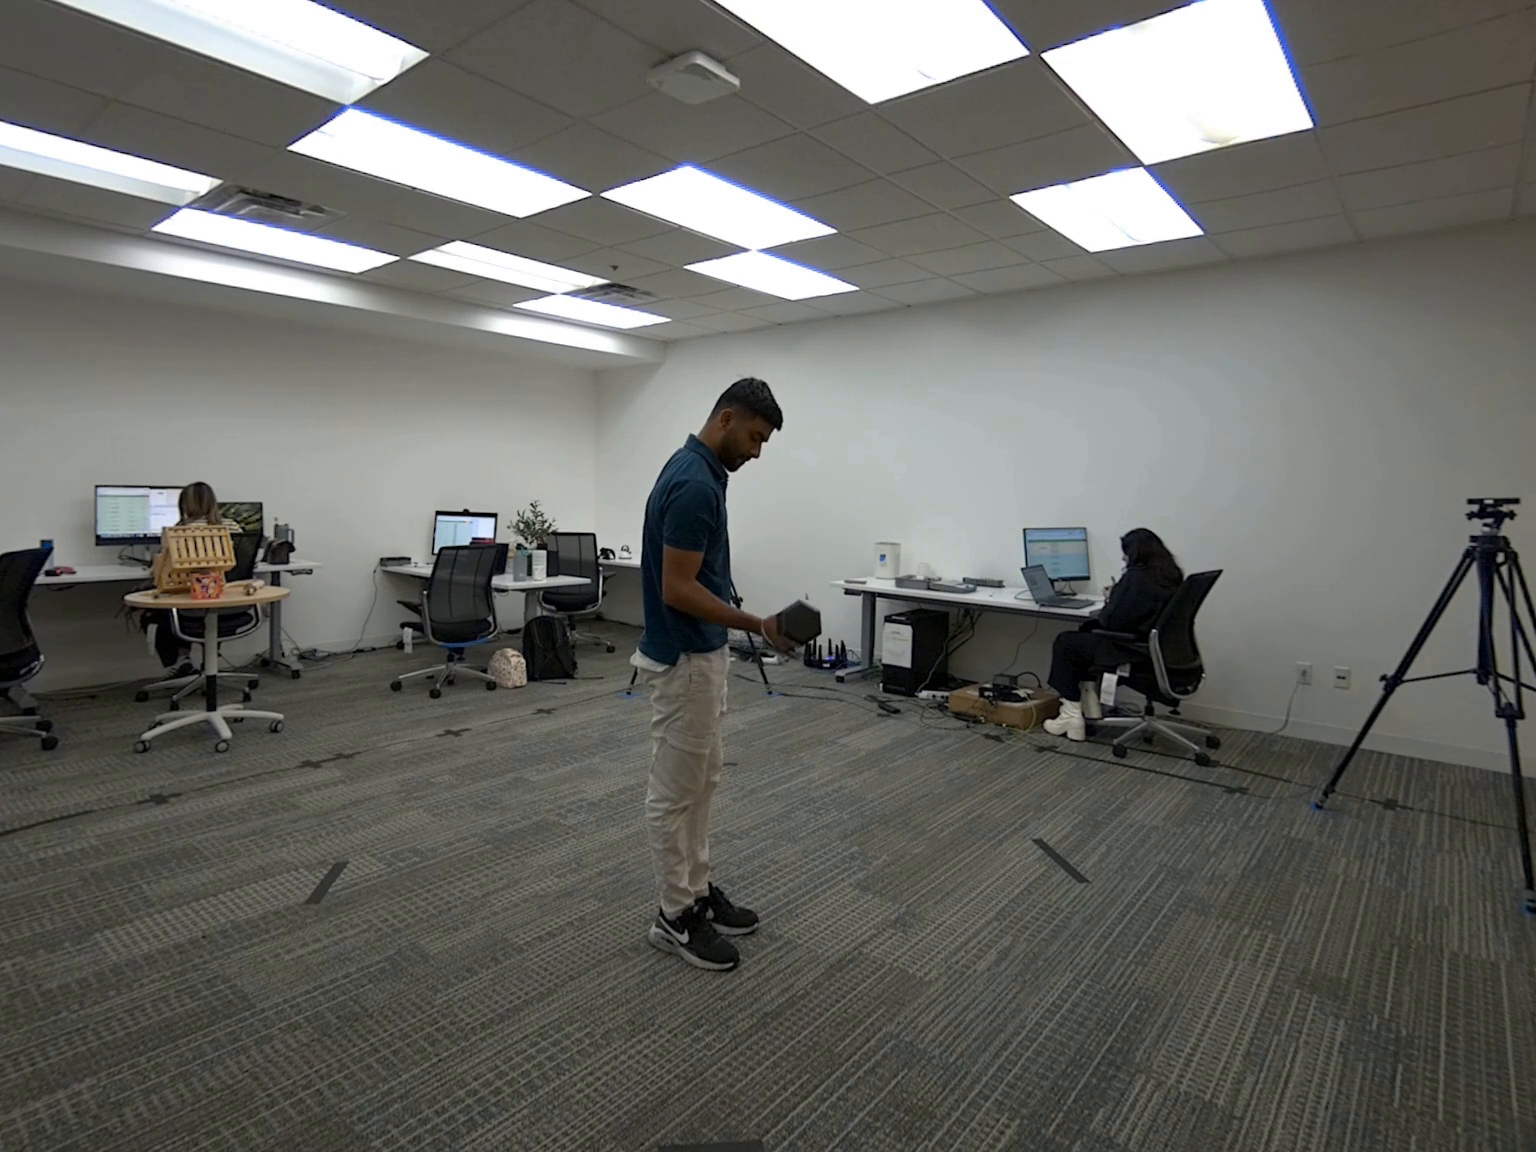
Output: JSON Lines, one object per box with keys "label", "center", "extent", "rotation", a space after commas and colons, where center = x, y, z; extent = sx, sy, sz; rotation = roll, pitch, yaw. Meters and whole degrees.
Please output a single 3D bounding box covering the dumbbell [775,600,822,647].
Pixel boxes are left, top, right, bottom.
{"label": "dumbbell", "center": [0.049, 0.140, 2.331], "extent": [0.122, 0.109, 0.293], "rotation": [-33, -3, -15]}
